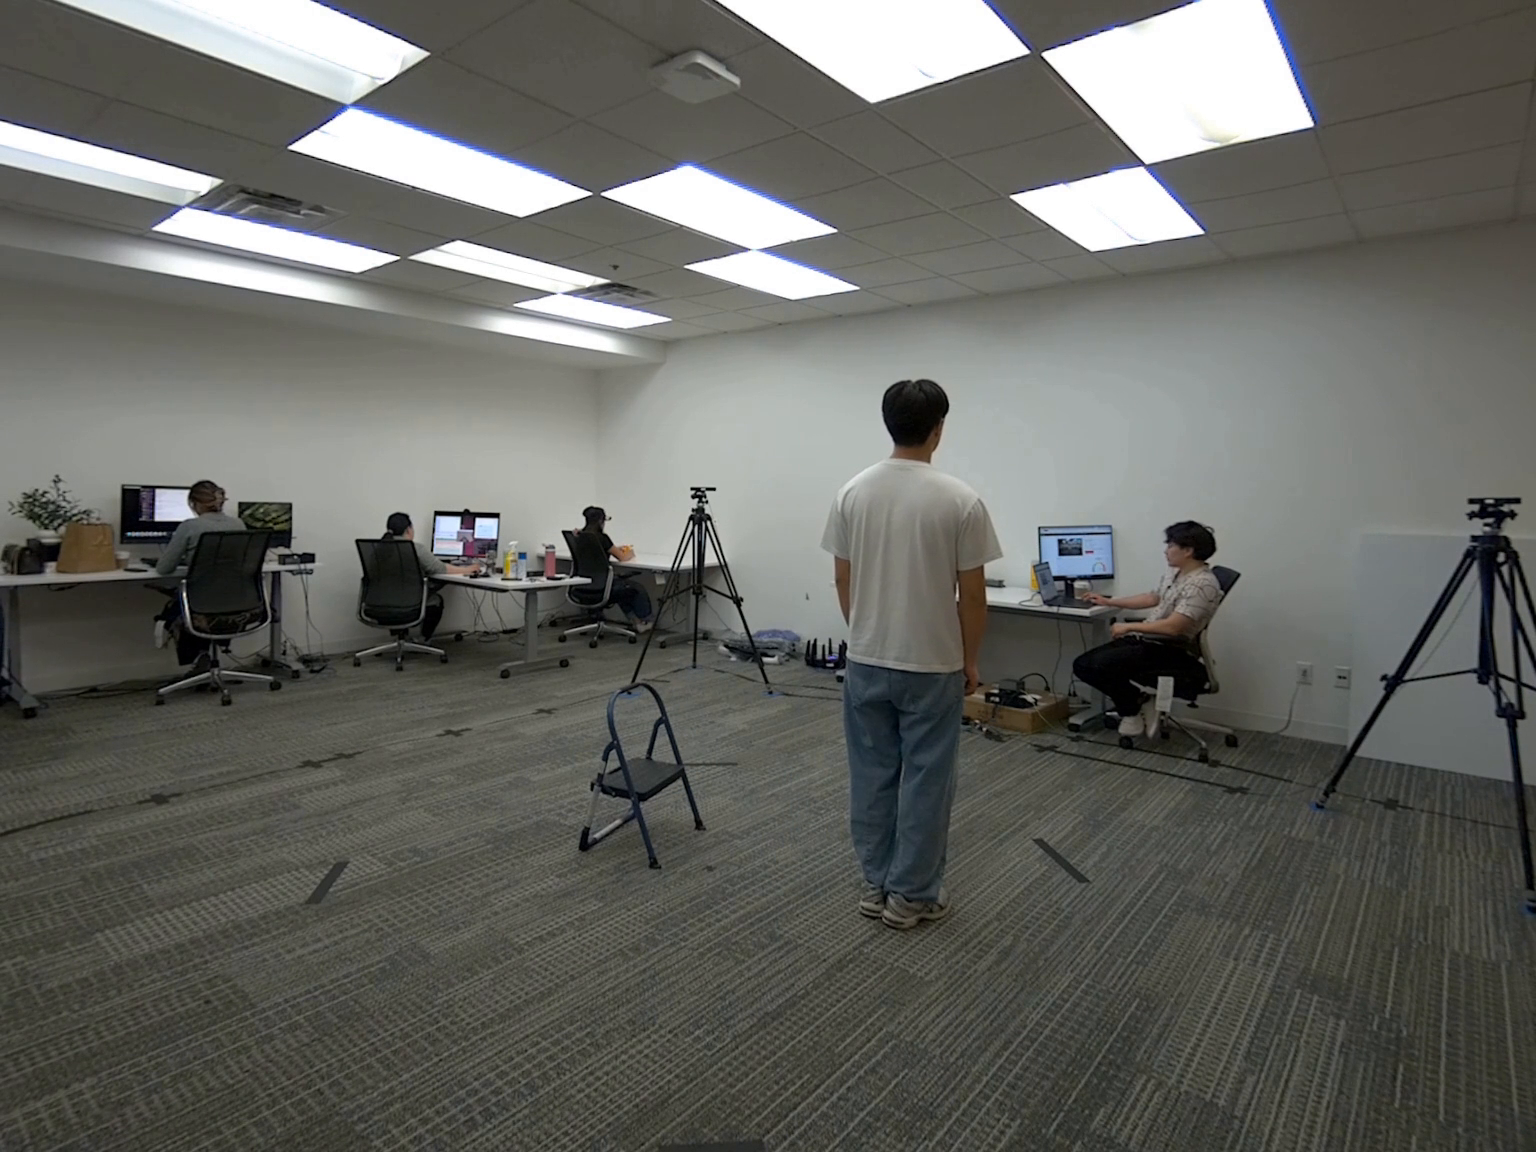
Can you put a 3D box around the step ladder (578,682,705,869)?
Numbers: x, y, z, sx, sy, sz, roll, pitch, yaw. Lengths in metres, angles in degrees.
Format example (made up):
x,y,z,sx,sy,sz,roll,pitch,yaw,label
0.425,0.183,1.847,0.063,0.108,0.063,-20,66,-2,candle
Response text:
x,y,z,sx,sy,sz,roll,pitch,yaw,label
-0.492,0.735,3.341,0.358,0.604,0.422,3,3,22,step ladder
